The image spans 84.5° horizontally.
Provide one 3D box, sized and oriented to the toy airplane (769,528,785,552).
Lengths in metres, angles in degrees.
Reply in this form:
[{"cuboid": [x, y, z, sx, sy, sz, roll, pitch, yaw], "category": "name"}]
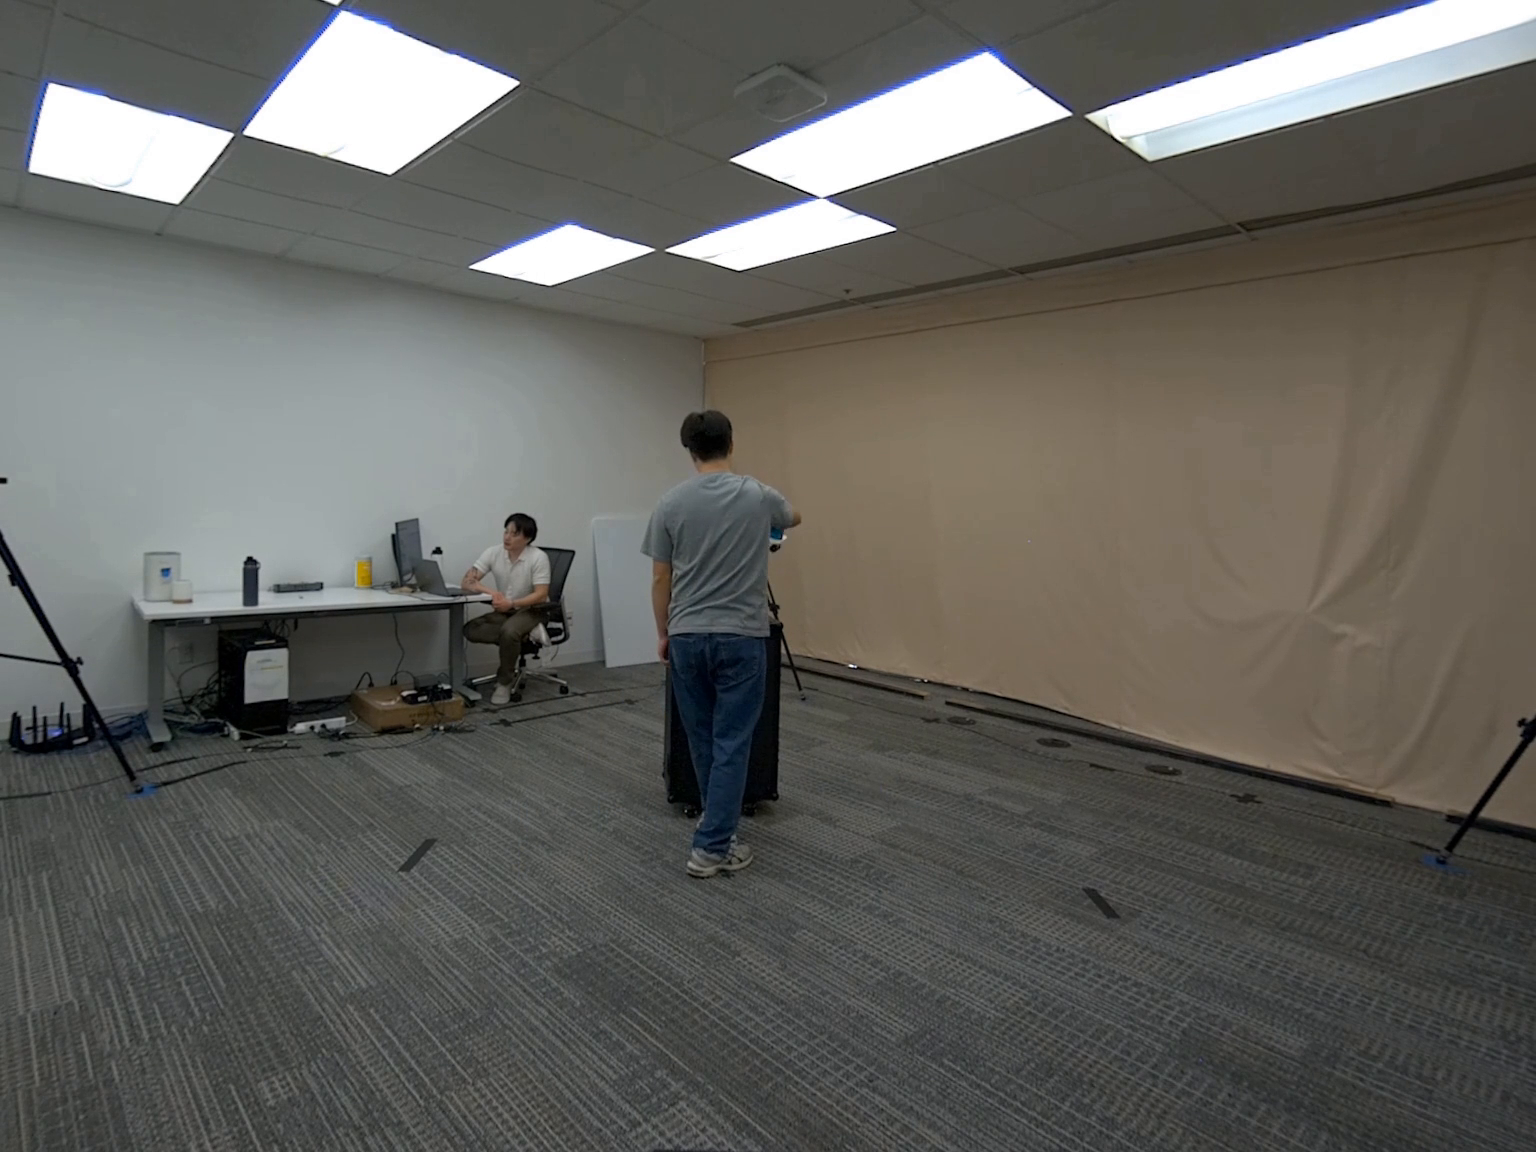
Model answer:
[{"cuboid": [-0.048, -0.207, 3.833, 0.259, 0.154, 0.255, -1, 21, -1], "category": "toy airplane"}]
